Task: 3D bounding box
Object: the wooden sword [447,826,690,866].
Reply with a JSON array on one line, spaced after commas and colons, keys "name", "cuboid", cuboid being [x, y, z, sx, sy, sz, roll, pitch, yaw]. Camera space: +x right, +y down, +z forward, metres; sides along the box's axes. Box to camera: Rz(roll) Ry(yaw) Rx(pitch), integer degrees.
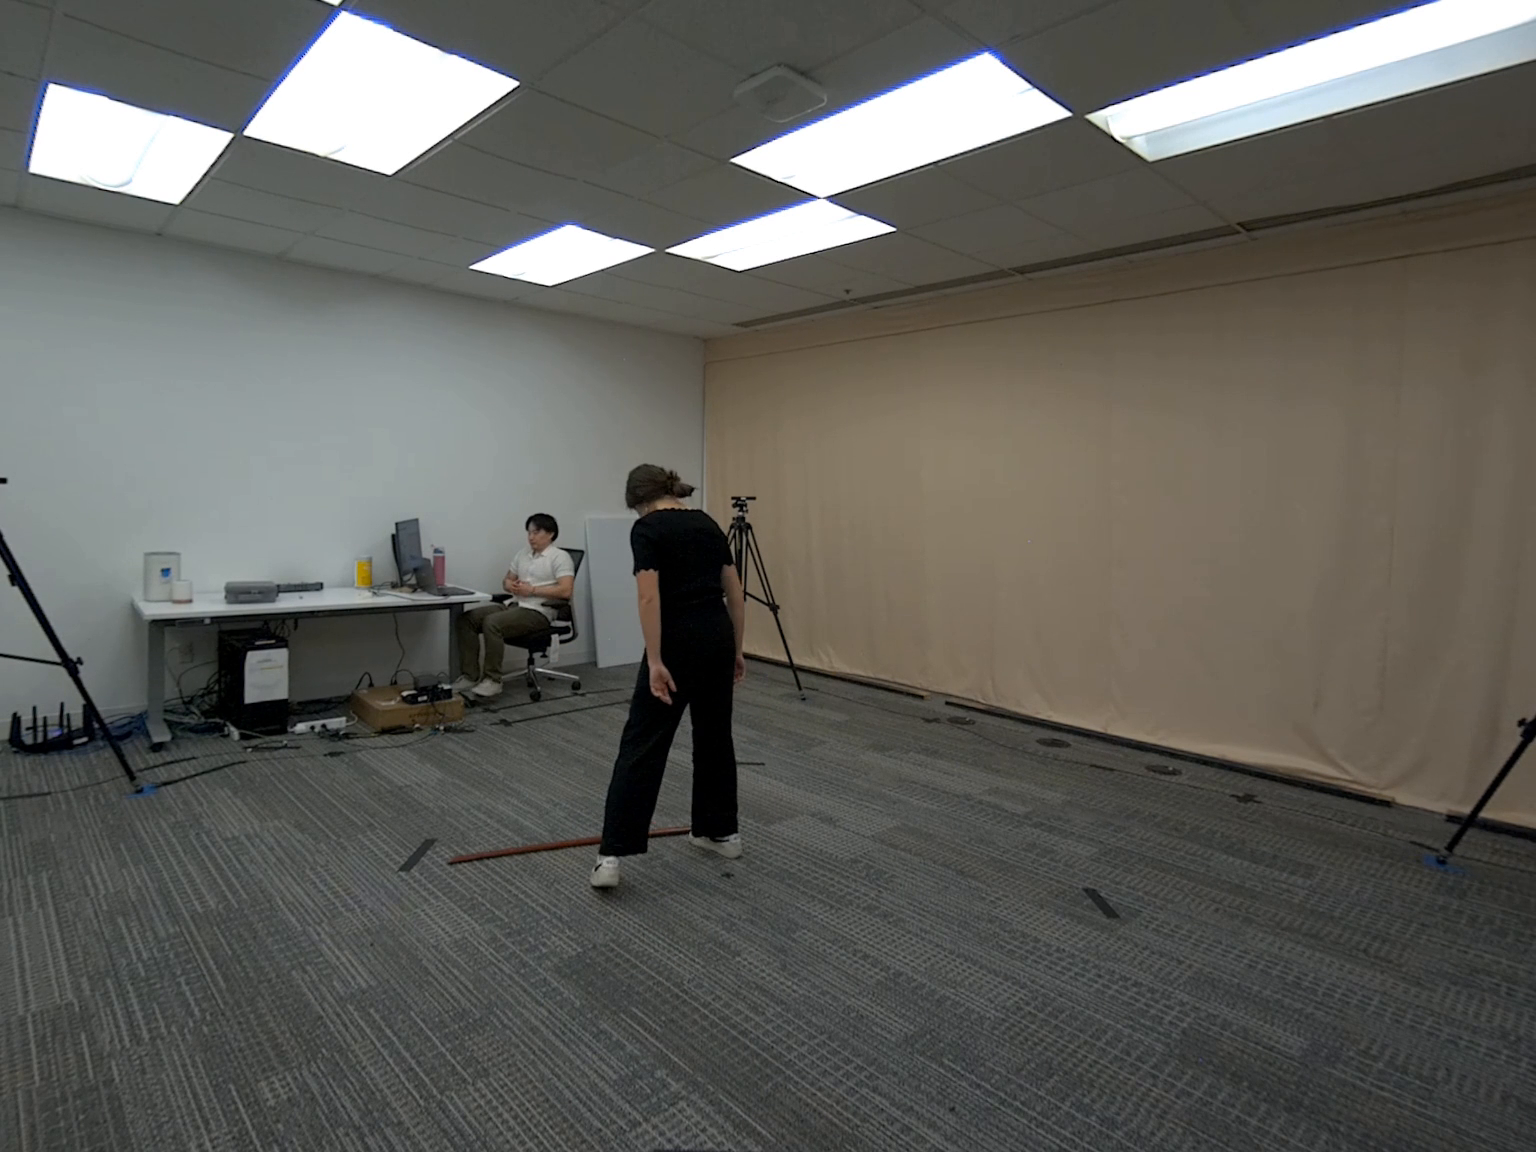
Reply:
[{"name": "wooden sword", "cuboid": [-0.734, 1.052, 3.330, 1.008, 0.024, 0.052, -1, 9, -22]}]
